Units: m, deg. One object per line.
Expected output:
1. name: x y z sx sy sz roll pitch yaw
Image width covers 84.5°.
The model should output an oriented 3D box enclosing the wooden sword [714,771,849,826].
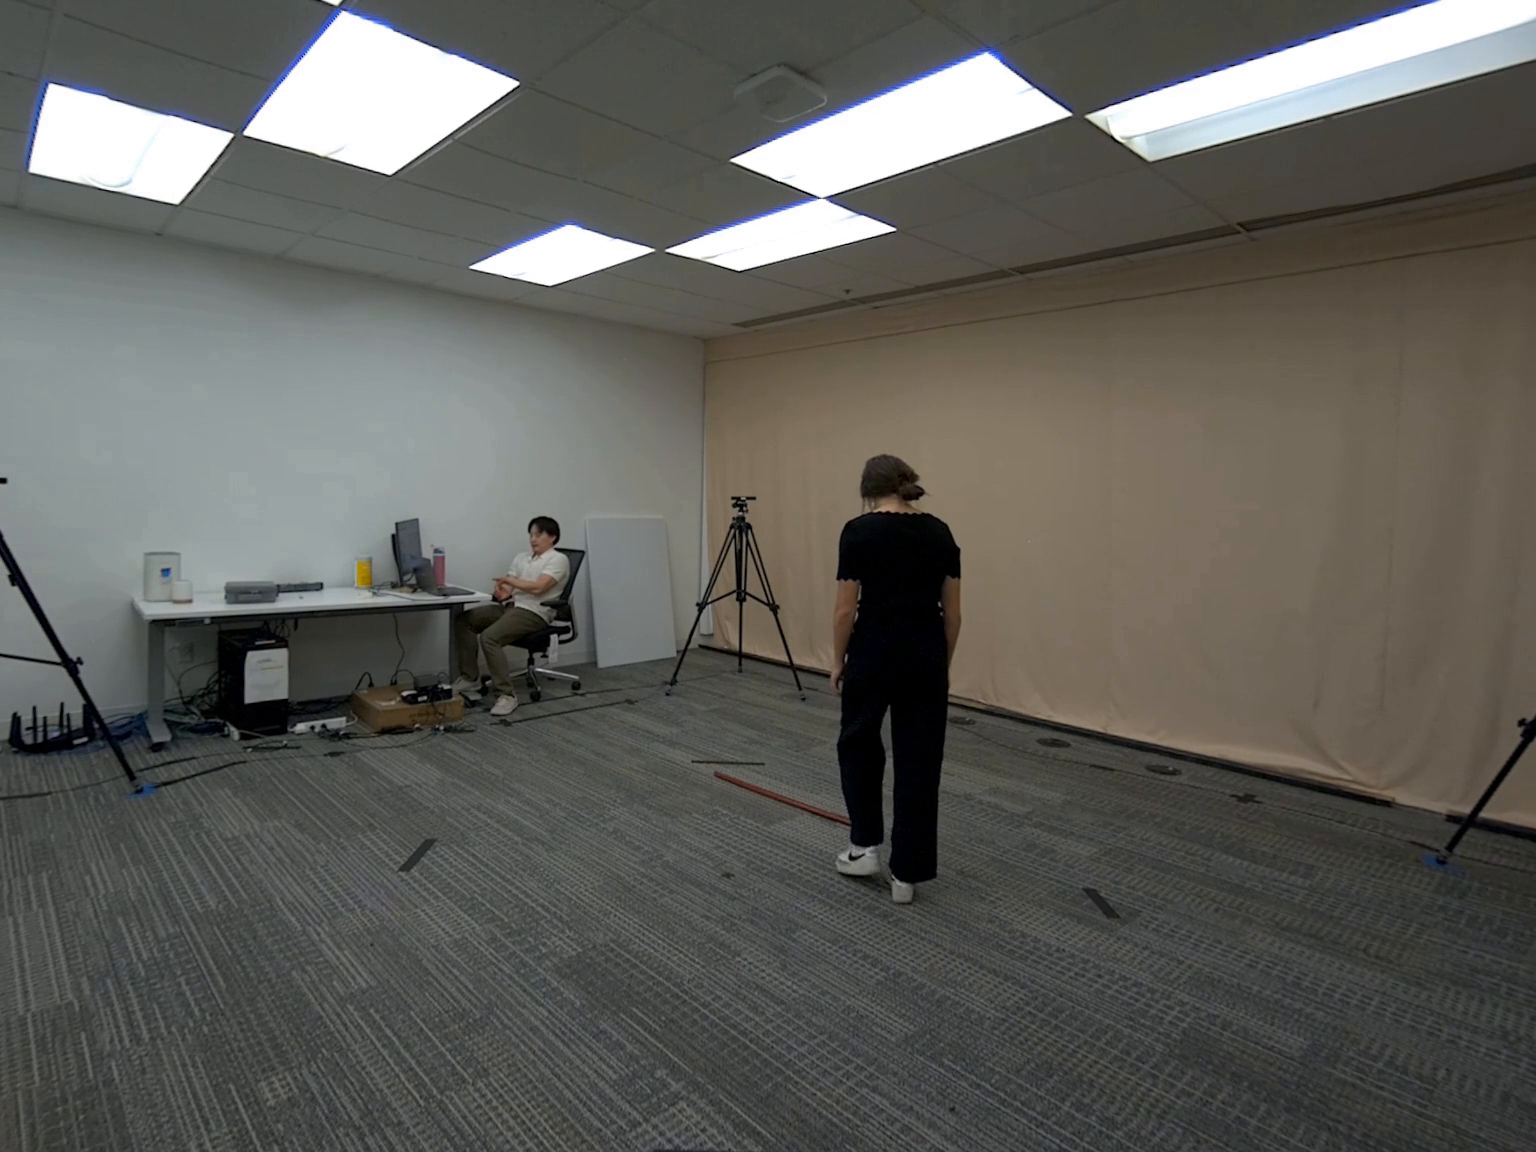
1. wooden sword: 0.074 1.021 3.872 1.051 0.024 0.050 7 22 44
